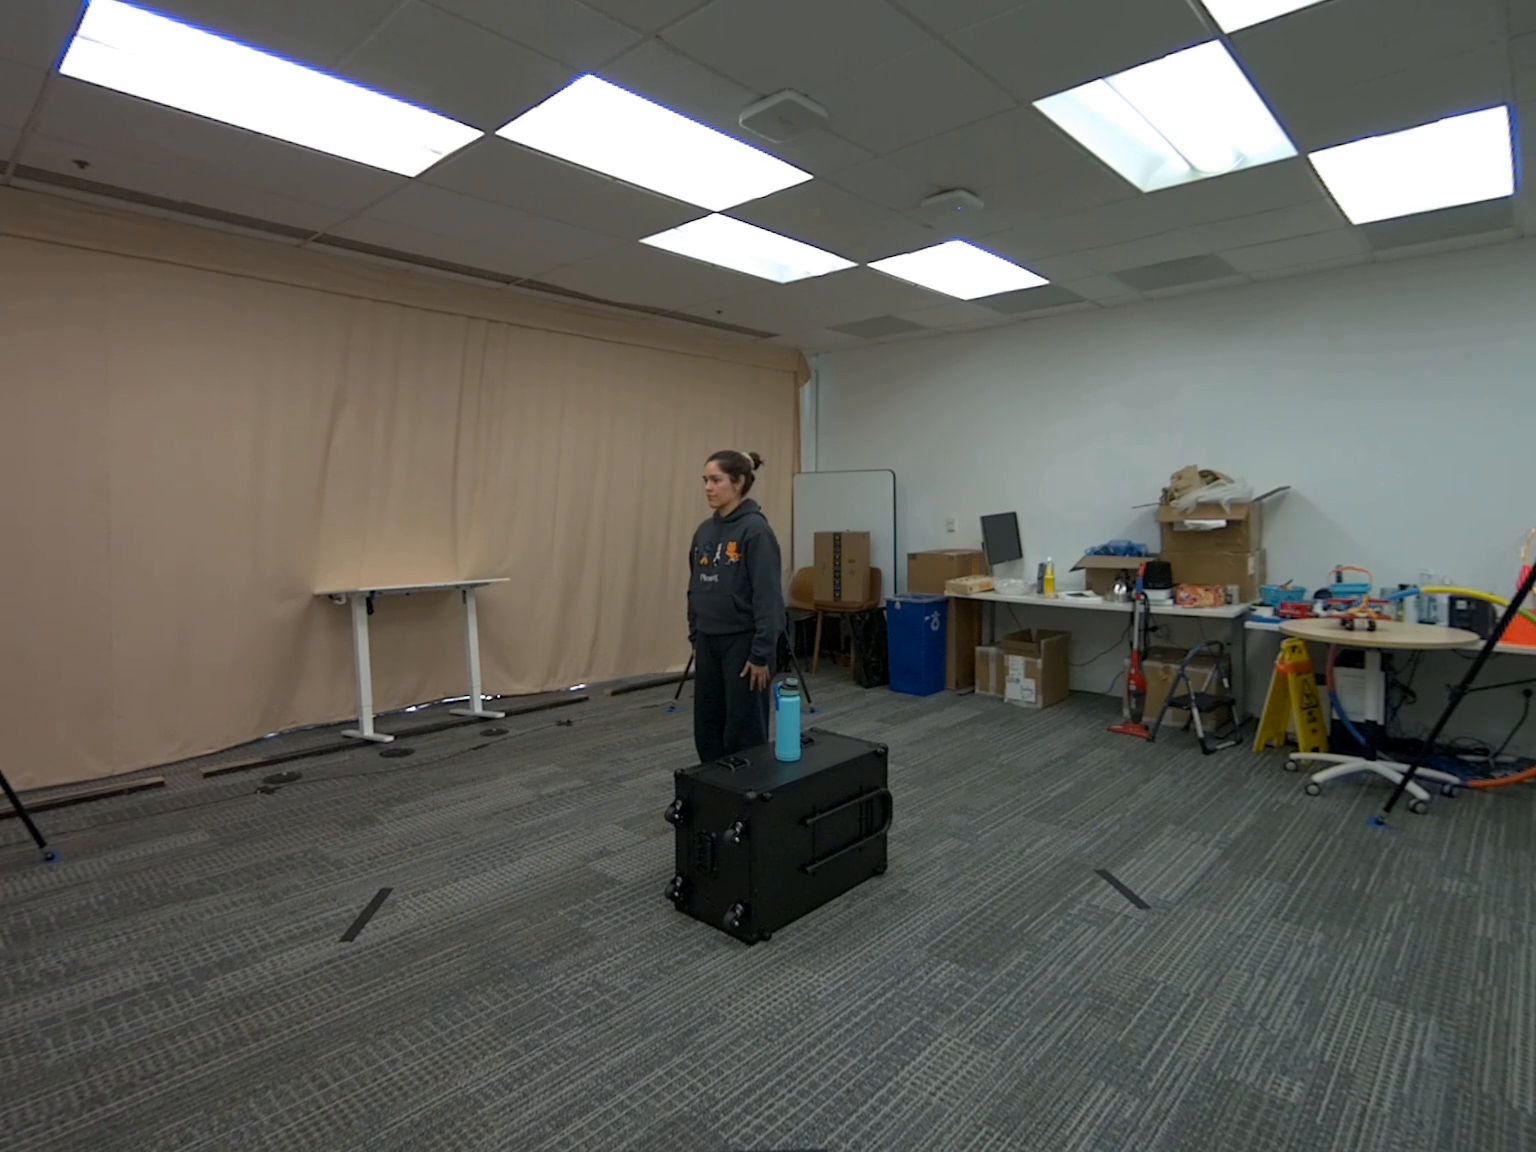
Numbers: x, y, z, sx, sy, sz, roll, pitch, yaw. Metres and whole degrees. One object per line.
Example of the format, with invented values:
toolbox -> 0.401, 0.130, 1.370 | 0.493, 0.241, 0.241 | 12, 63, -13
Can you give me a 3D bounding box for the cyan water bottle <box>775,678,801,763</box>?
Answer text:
cyan water bottle -> 0.091, 0.513, 3.032 | 0.092, 0.283, 0.092 | -2, 3, -2
